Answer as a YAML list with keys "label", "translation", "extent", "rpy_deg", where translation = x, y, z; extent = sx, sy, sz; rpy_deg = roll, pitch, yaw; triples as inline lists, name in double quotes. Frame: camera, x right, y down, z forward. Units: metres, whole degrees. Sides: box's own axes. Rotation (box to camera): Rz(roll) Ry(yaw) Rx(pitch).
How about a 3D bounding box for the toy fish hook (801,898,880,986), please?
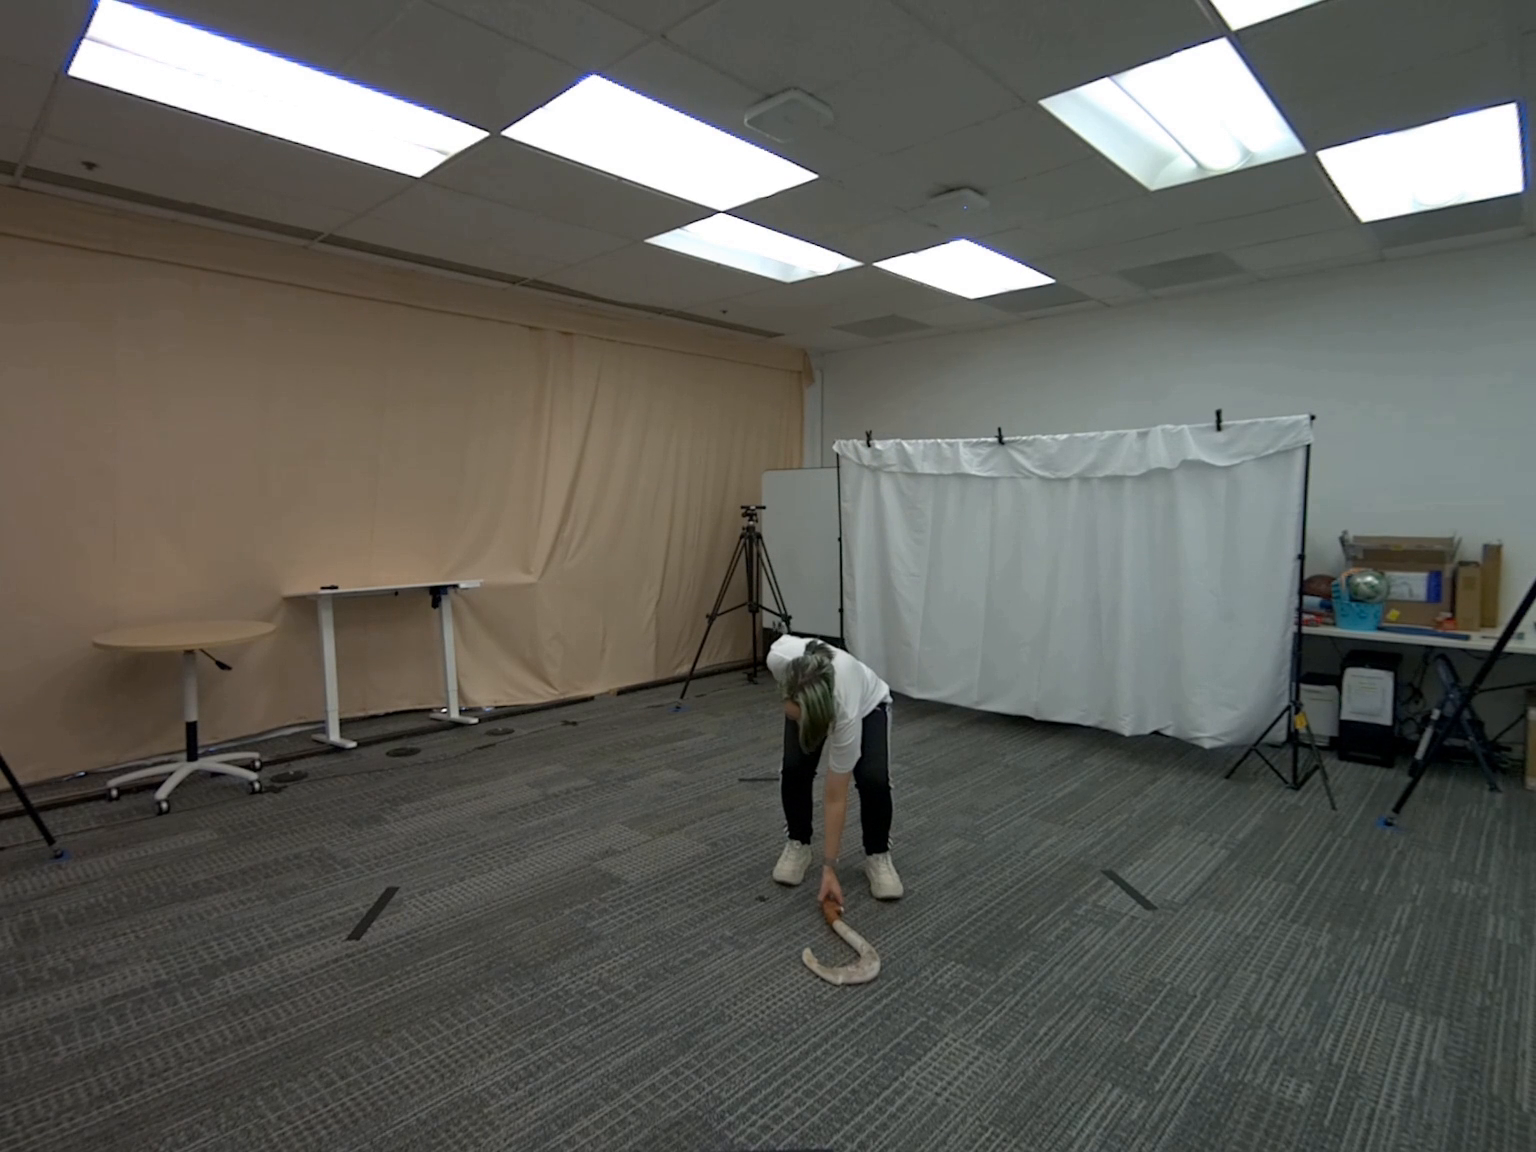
- label: "toy fish hook"
  translation: [0.201, 1.131, 2.687]
  extent: [0.222, 0.048, 0.513]
  rpy_deg: [1, 5, -11]
